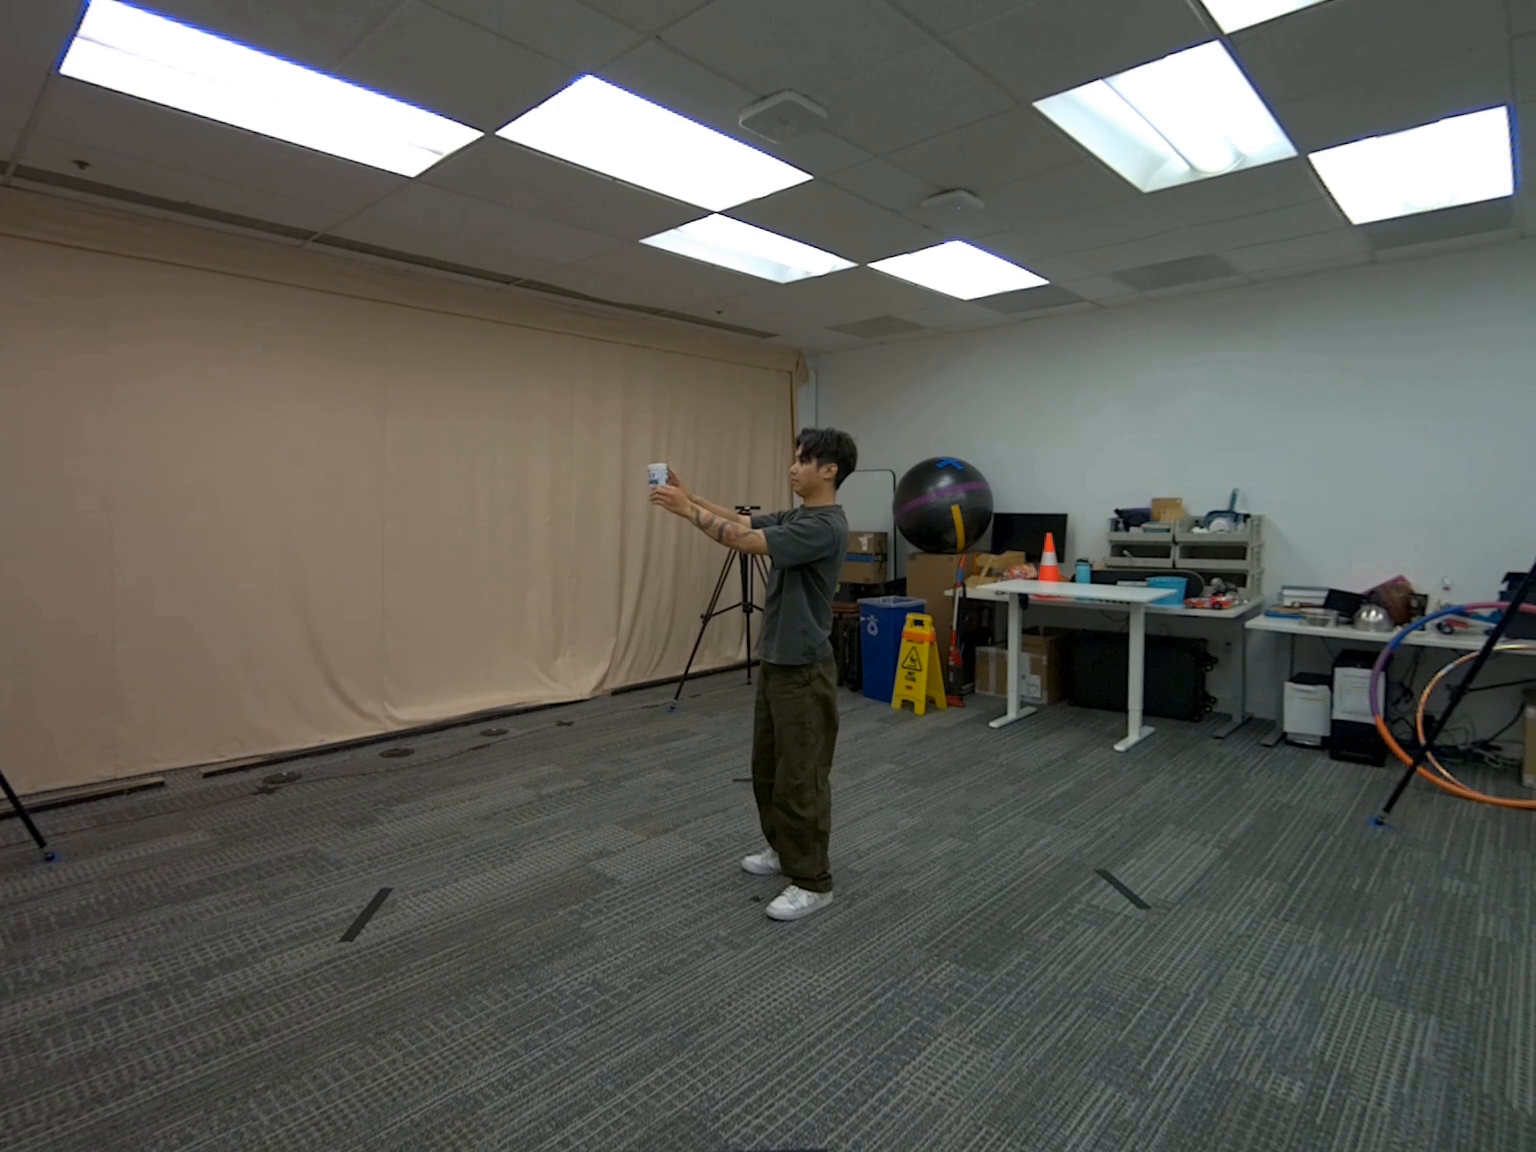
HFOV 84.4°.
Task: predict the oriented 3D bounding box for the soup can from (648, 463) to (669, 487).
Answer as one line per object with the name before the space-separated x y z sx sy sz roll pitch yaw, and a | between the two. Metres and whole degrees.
soup can | -0.370 -0.315 2.881 0.067 0.121 0.067 -1 2 -2
